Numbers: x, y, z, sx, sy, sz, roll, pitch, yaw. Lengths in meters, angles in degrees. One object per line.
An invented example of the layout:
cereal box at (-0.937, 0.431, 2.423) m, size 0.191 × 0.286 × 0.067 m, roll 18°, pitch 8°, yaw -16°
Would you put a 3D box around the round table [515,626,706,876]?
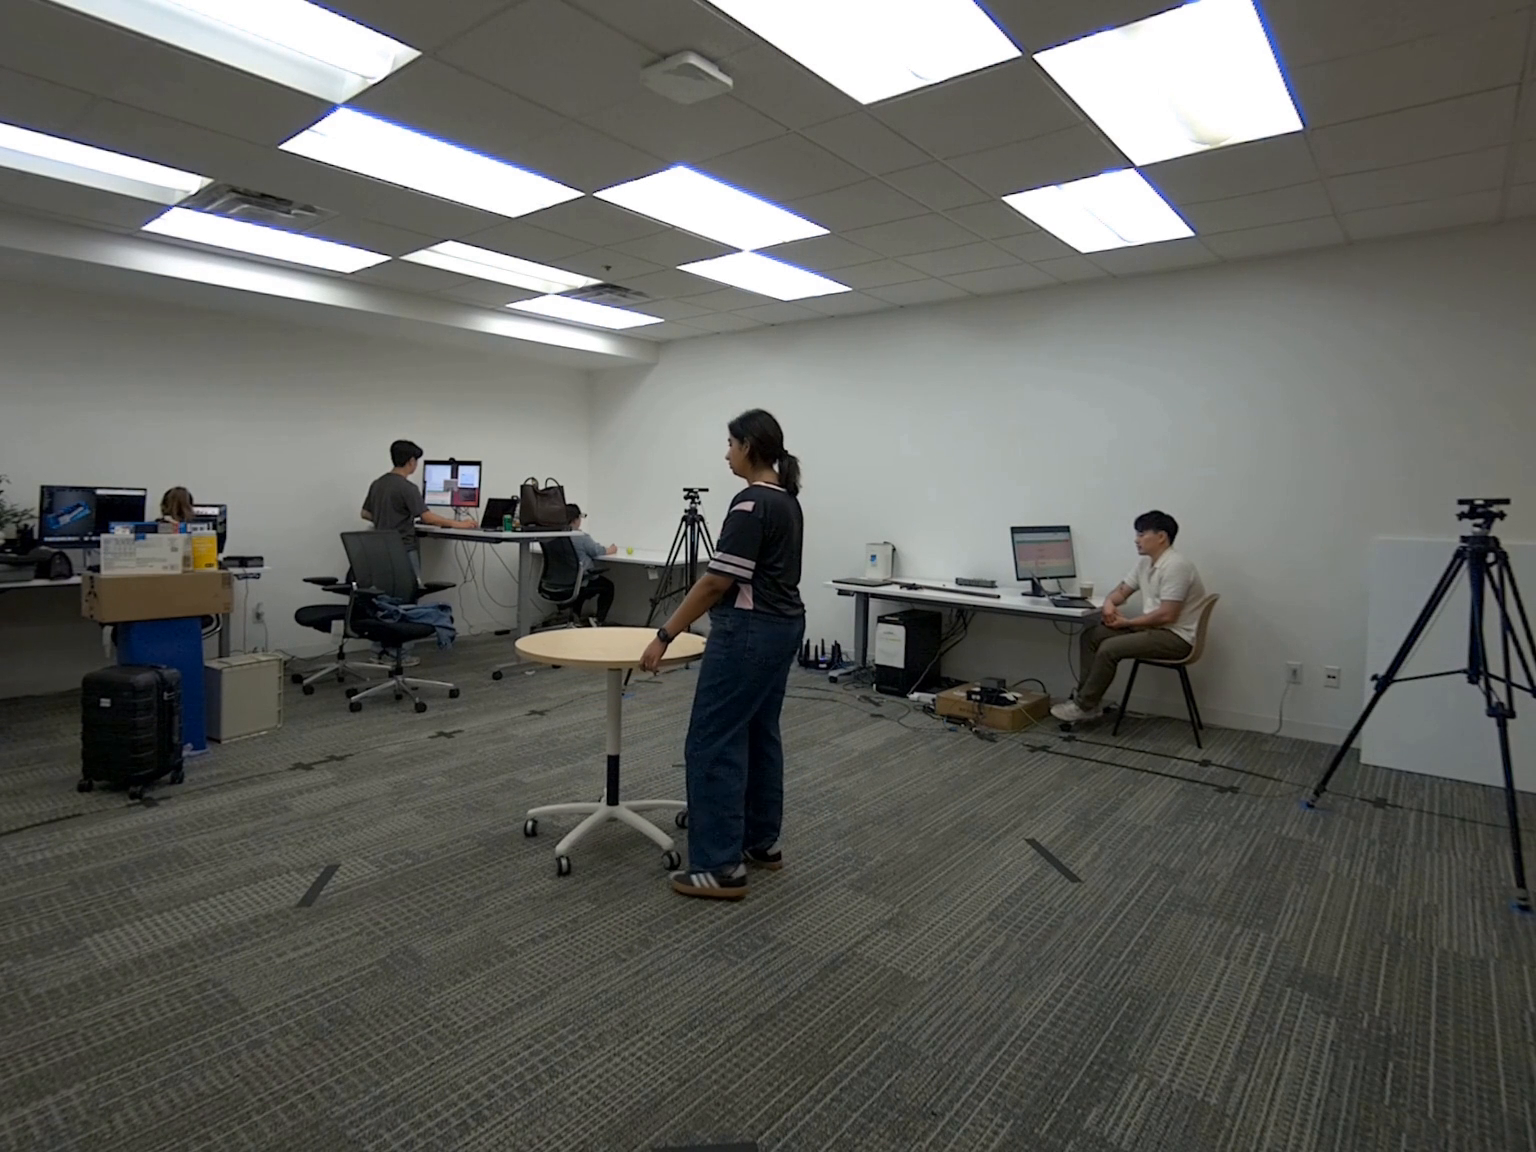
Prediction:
round table at (-0.615, 0.646, 3.331) m, size 0.784 × 0.784 × 0.788 m, roll 1°, pitch 3°, yaw -2°
